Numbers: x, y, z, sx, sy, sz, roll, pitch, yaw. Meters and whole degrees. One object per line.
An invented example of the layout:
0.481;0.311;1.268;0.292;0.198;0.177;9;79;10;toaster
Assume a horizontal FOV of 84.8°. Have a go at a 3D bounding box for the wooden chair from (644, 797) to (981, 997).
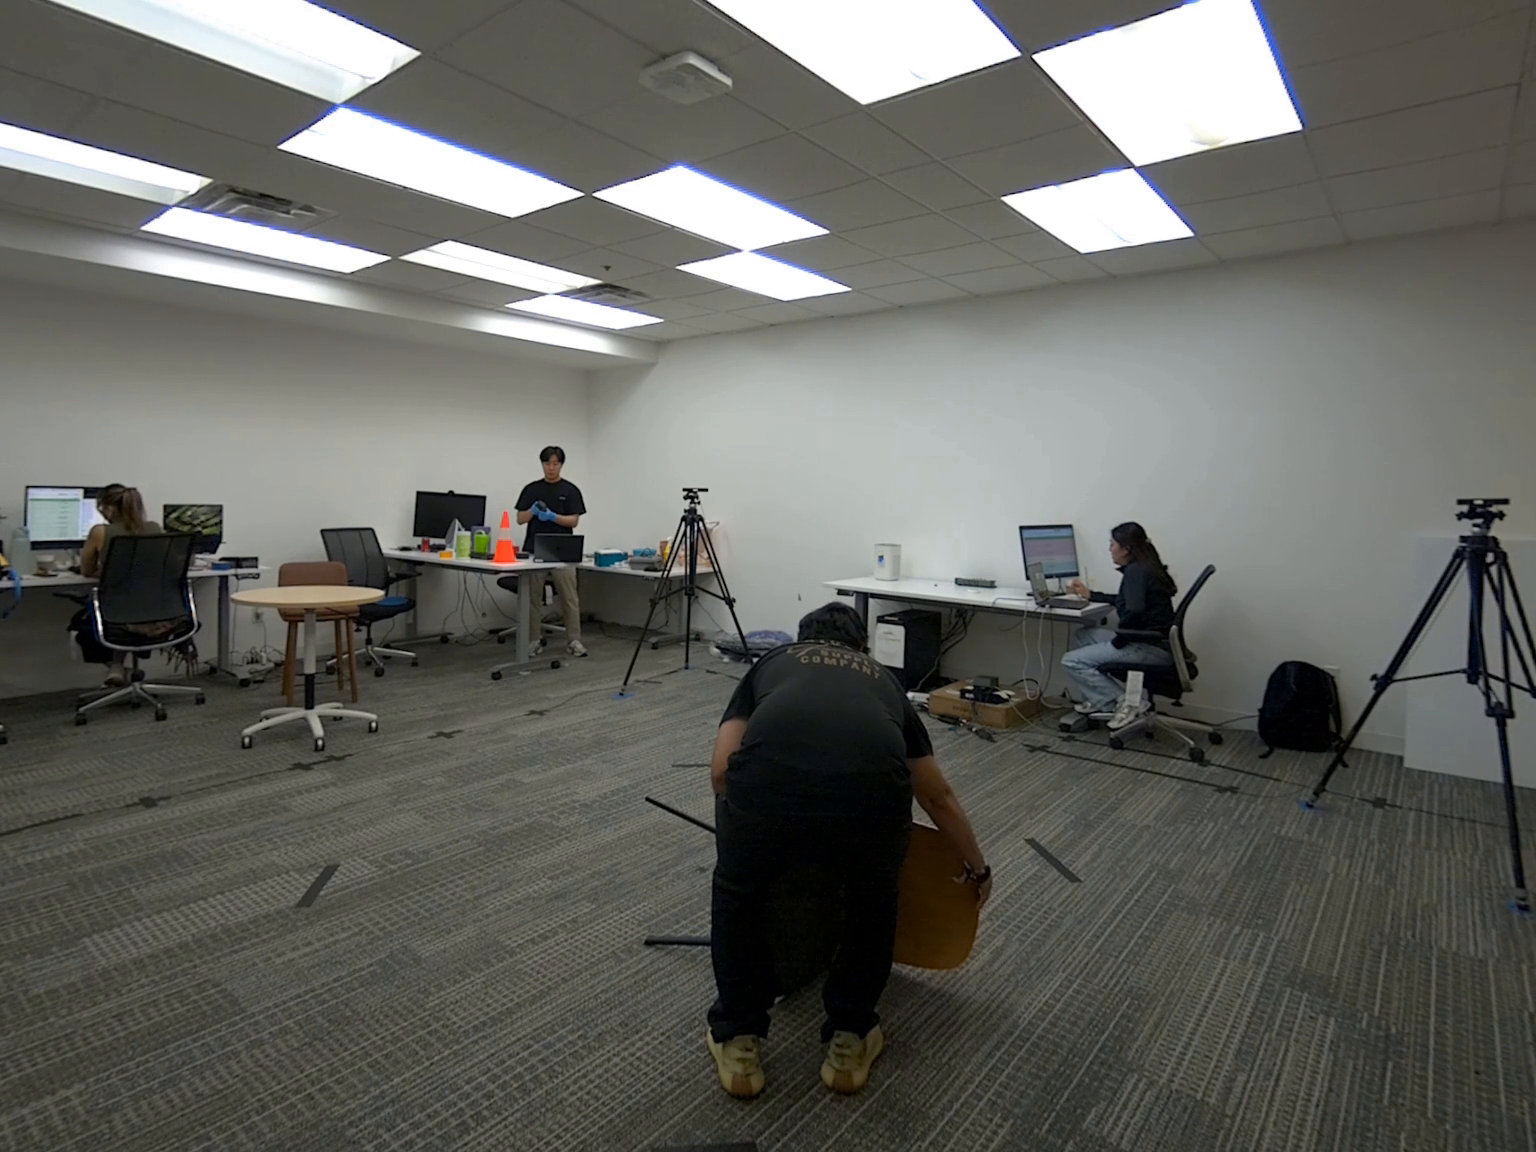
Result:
0.096;0.907;2.461;0.905;0.476;0.509;5;6;34;wooden chair
